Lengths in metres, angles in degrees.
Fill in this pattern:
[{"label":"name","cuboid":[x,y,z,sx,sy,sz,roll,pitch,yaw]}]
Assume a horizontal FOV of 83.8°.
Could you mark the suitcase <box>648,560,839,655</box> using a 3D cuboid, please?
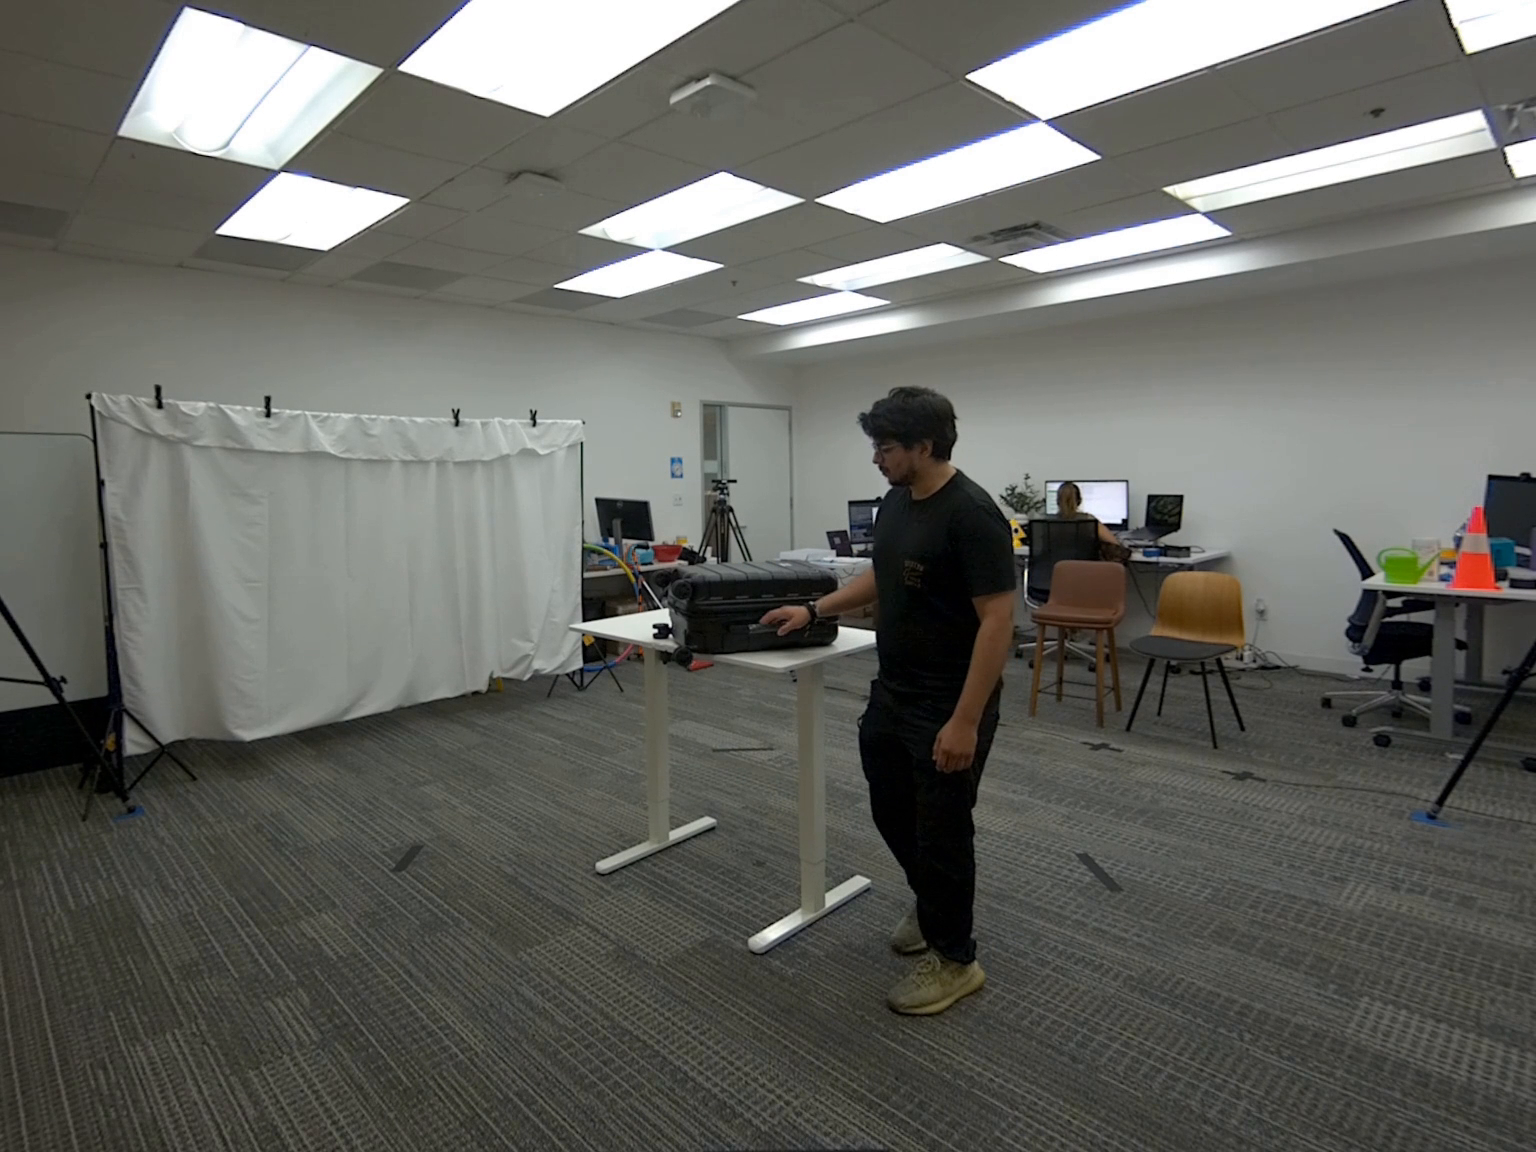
[{"label":"suitcase","cuboid":[-0.061,0.095,2.720,0.542,0.247,0.382,-3,7,-15]}]
